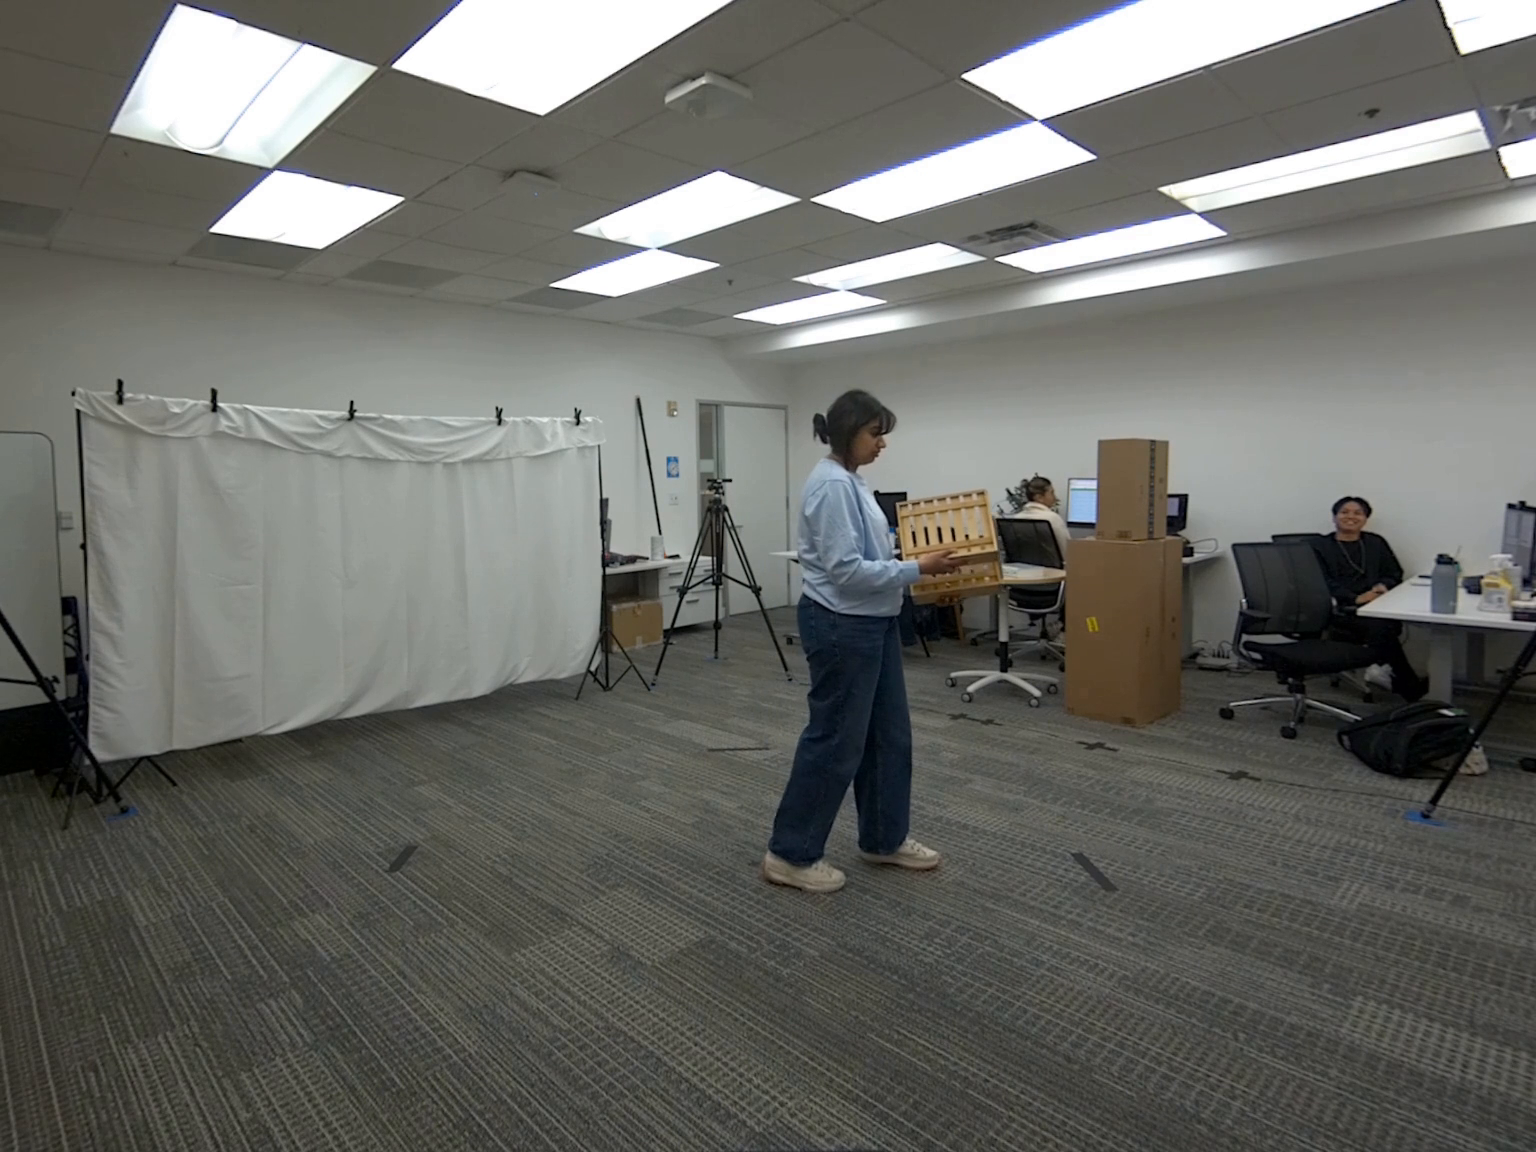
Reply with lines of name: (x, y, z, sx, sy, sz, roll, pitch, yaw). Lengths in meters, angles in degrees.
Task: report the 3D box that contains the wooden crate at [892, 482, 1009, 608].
wooden crate: (0.624, -0.101, 2.942, 0.328, 0.308, 0.264, -9, -24, 13)
